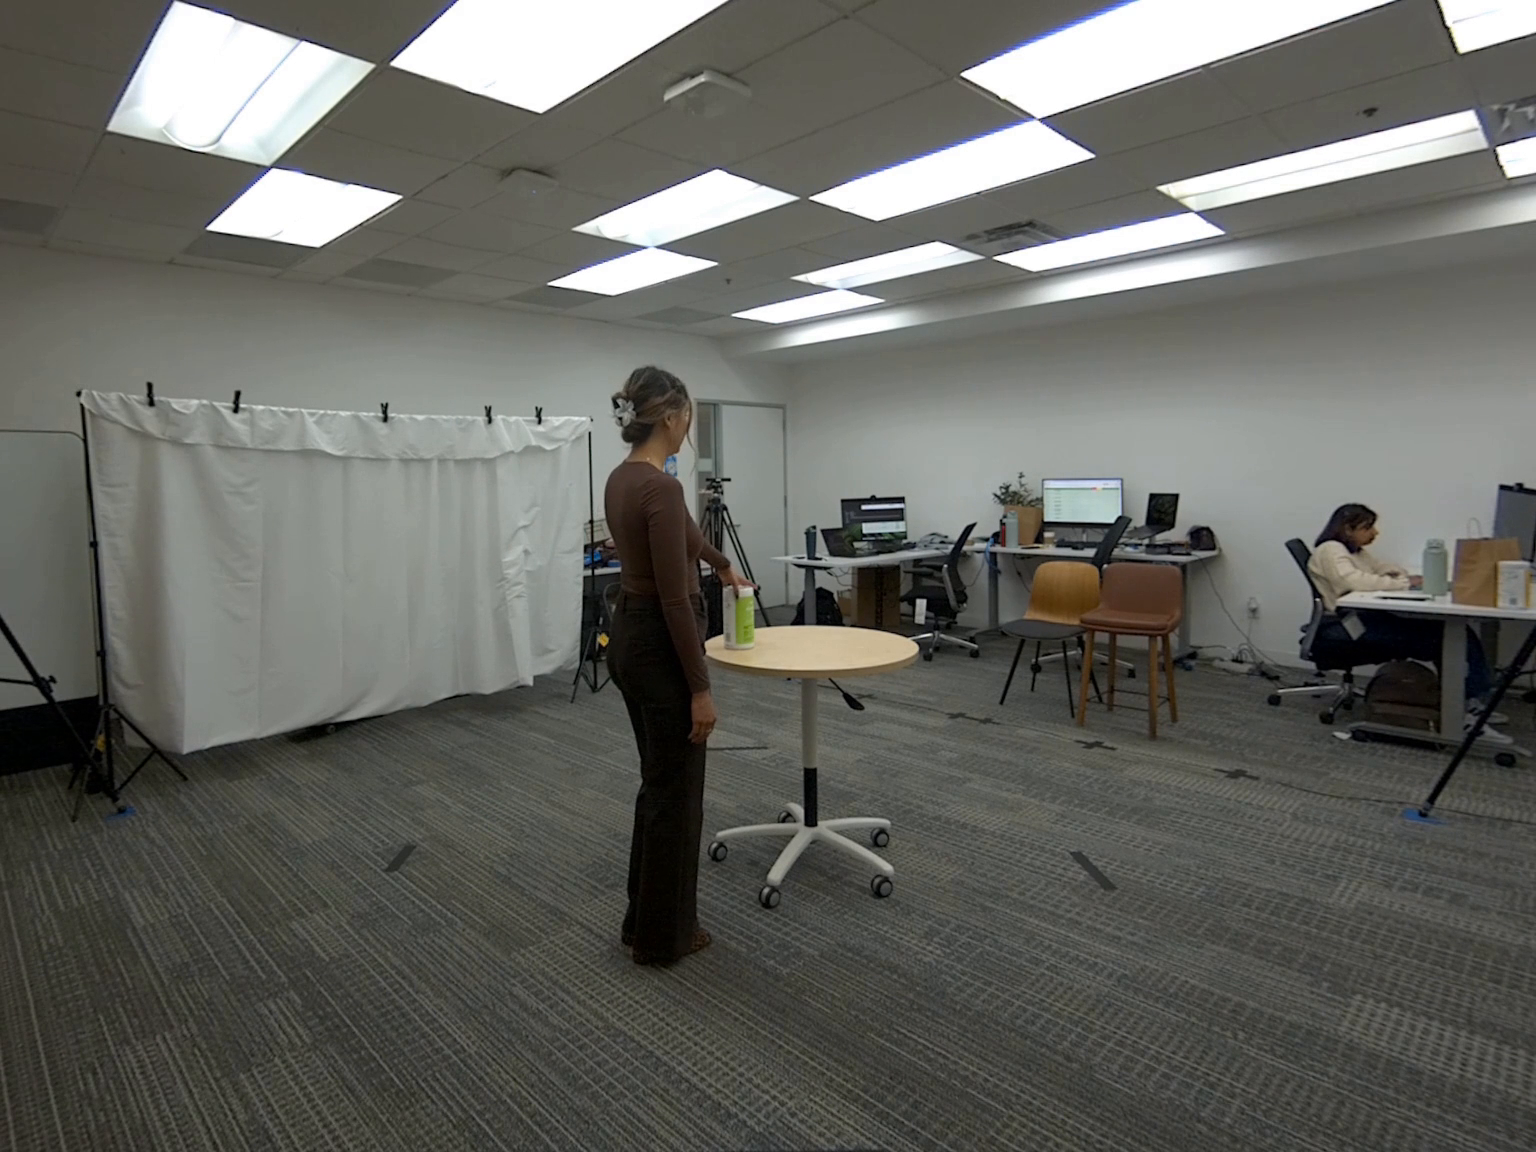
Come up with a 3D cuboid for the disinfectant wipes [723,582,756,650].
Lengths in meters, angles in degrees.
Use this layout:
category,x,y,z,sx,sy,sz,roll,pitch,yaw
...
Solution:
category,x,y,z,sx,sy,sz,roll,pitch,yaw
disinfectant wipes,-0.106,0.149,3.034,0.118,0.216,0.118,-1,5,-2
